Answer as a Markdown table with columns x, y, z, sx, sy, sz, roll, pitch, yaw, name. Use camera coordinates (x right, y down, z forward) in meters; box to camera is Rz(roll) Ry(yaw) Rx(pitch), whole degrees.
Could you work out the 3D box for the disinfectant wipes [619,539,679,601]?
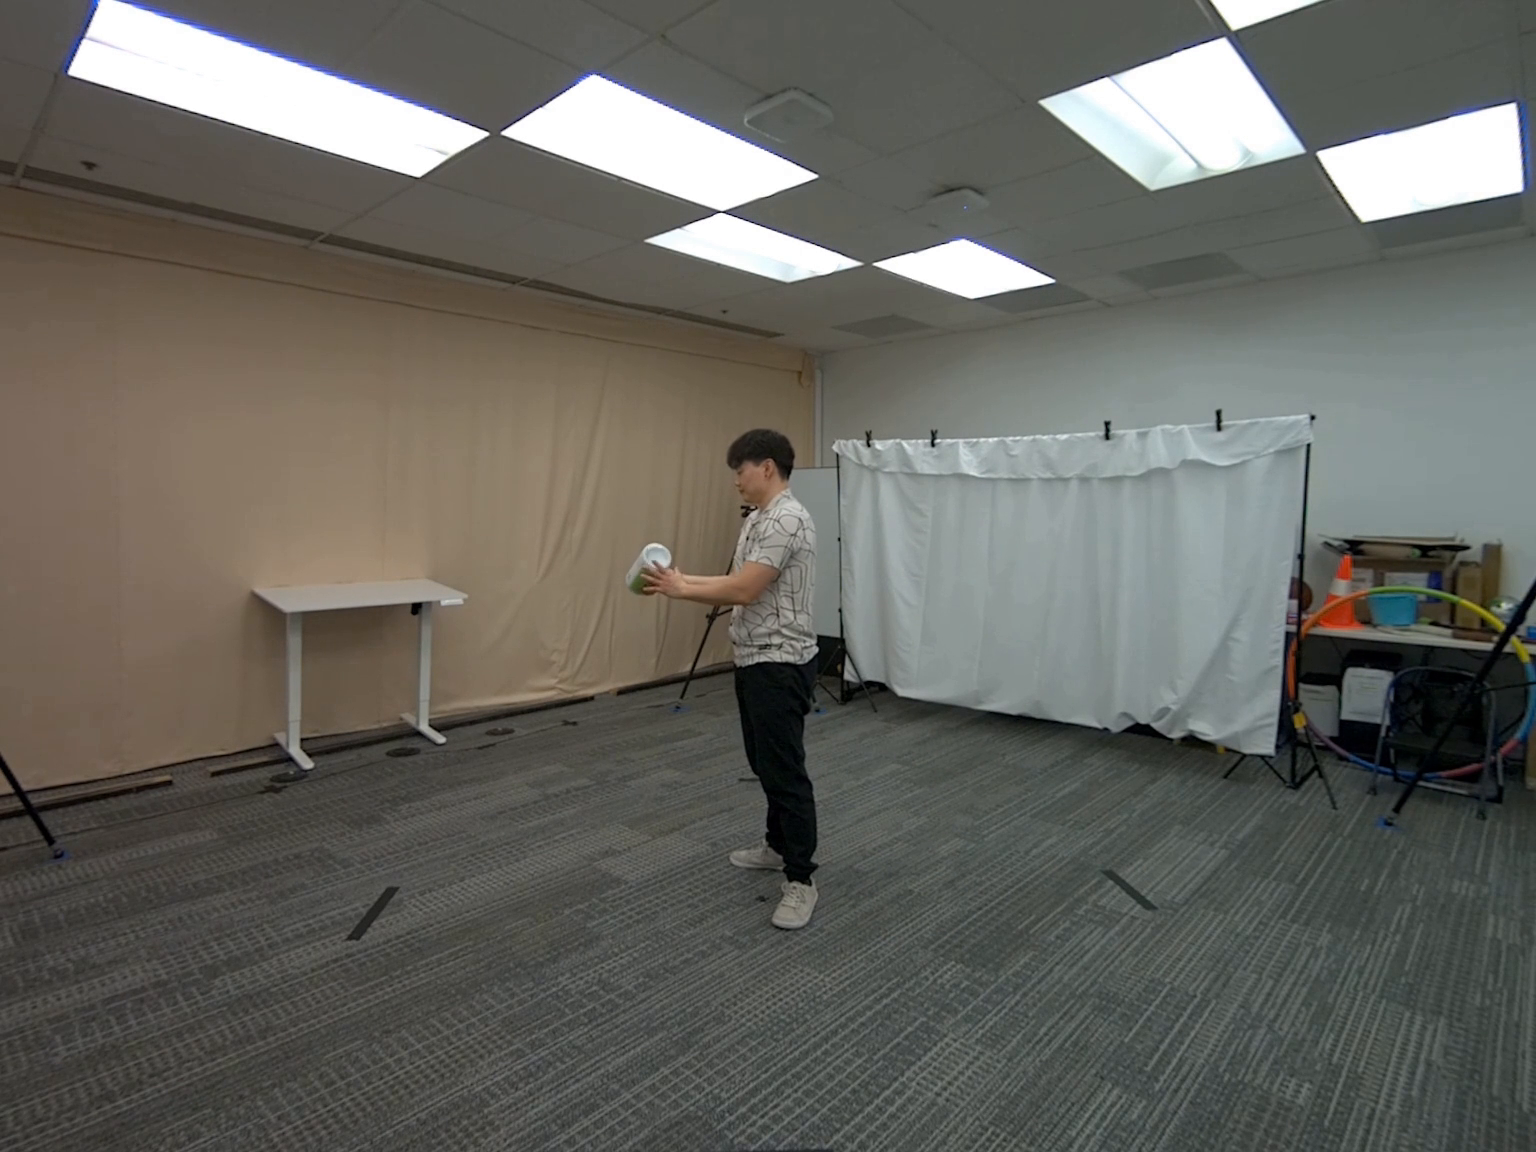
| x | y | z | sx | sy | sz | roll | pitch | yaw | name |
| --- | --- | --- | --- | --- | --- | --- | --- | --- | --- |
| -0.435 | -0.023 | 3.060 | 0.114 | 0.120 | 0.219 | -2 | -30 | -33 | disinfectant wipes |
